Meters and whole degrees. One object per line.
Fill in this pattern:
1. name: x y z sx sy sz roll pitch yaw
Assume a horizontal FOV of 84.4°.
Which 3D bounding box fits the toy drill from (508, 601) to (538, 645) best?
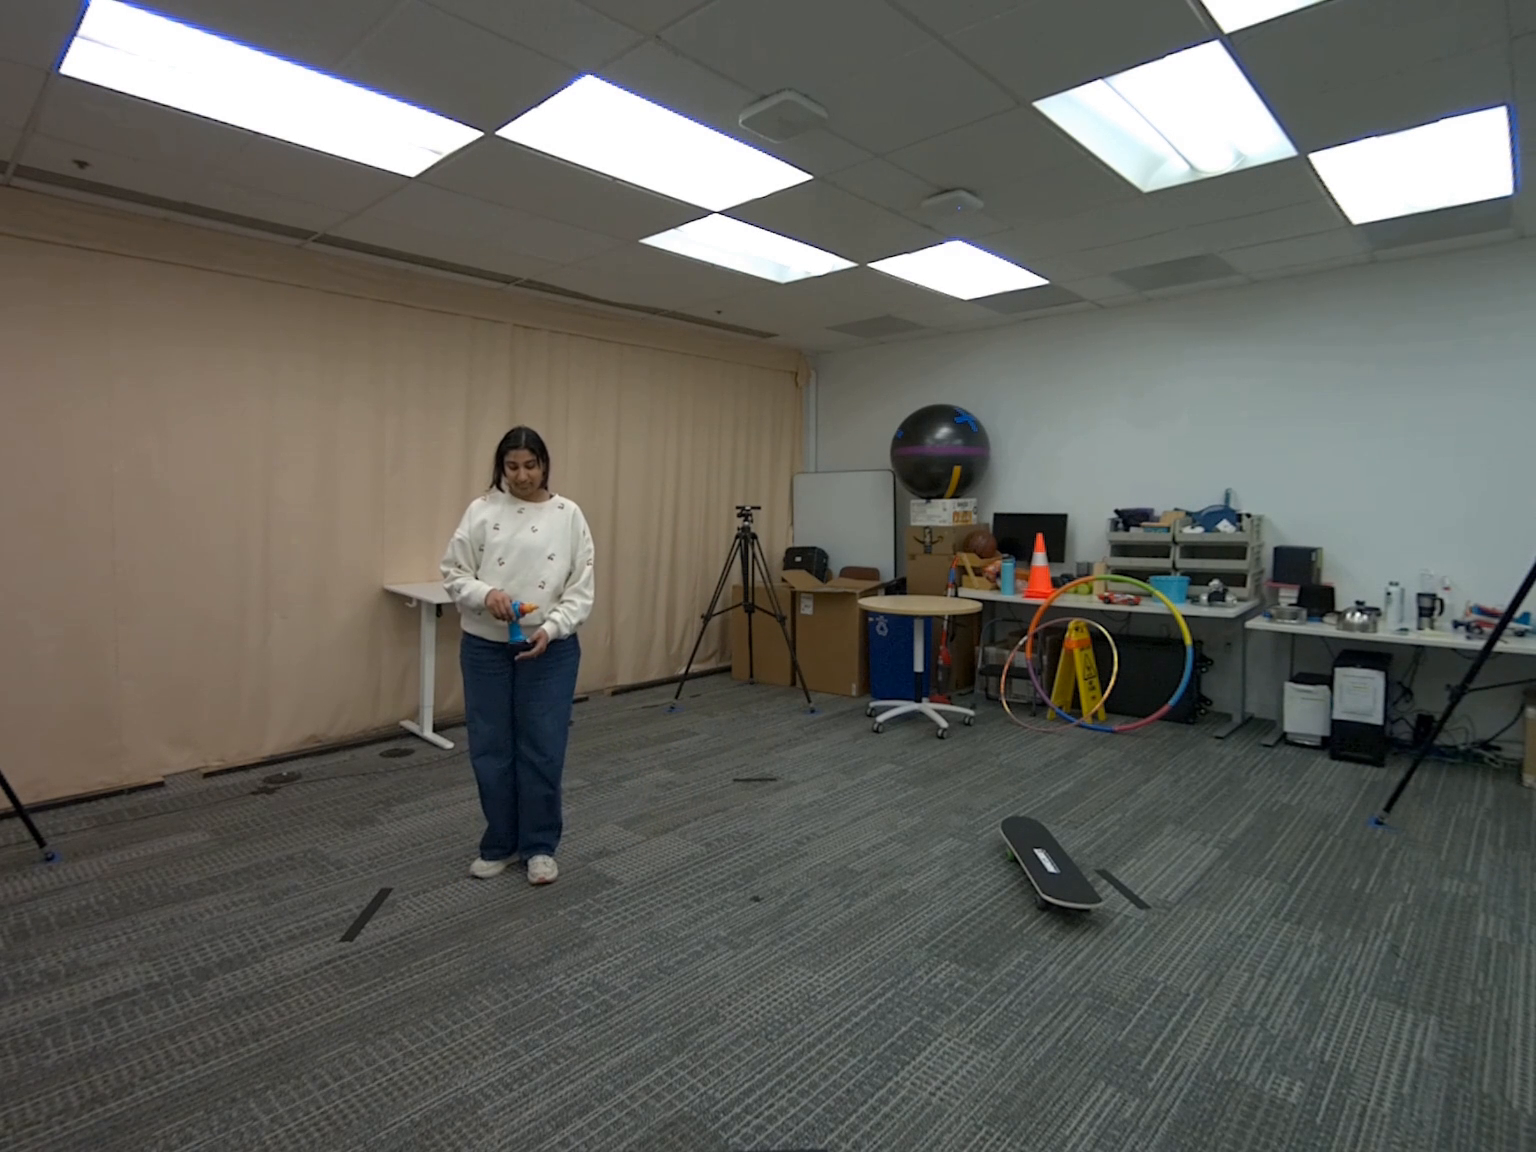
1. toy drill: -0.836 0.160 2.904 0.173 0.145 0.060 -10 10 19
